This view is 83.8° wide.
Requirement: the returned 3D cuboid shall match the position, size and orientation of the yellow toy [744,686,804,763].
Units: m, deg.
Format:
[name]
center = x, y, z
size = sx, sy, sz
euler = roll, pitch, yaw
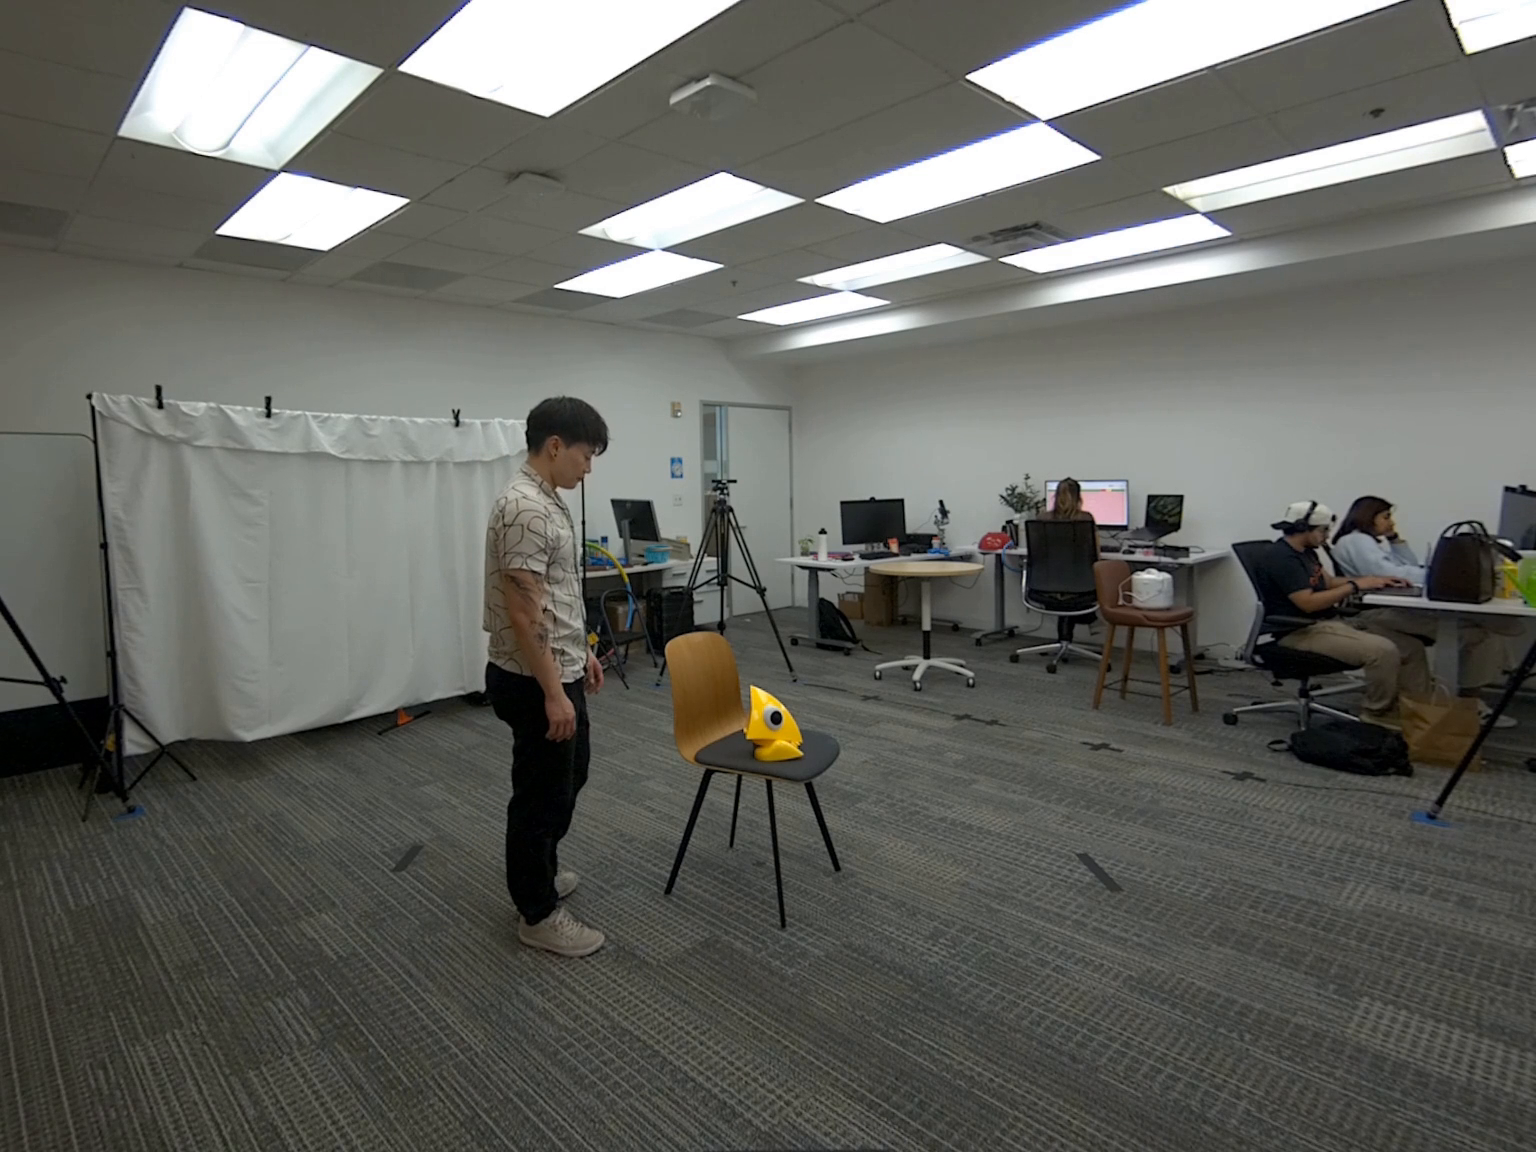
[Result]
[yellow toy]
center = 0.011, 0.477, 2.868
size = 0.193, 0.230, 0.205
euler = -5, 1, -2
